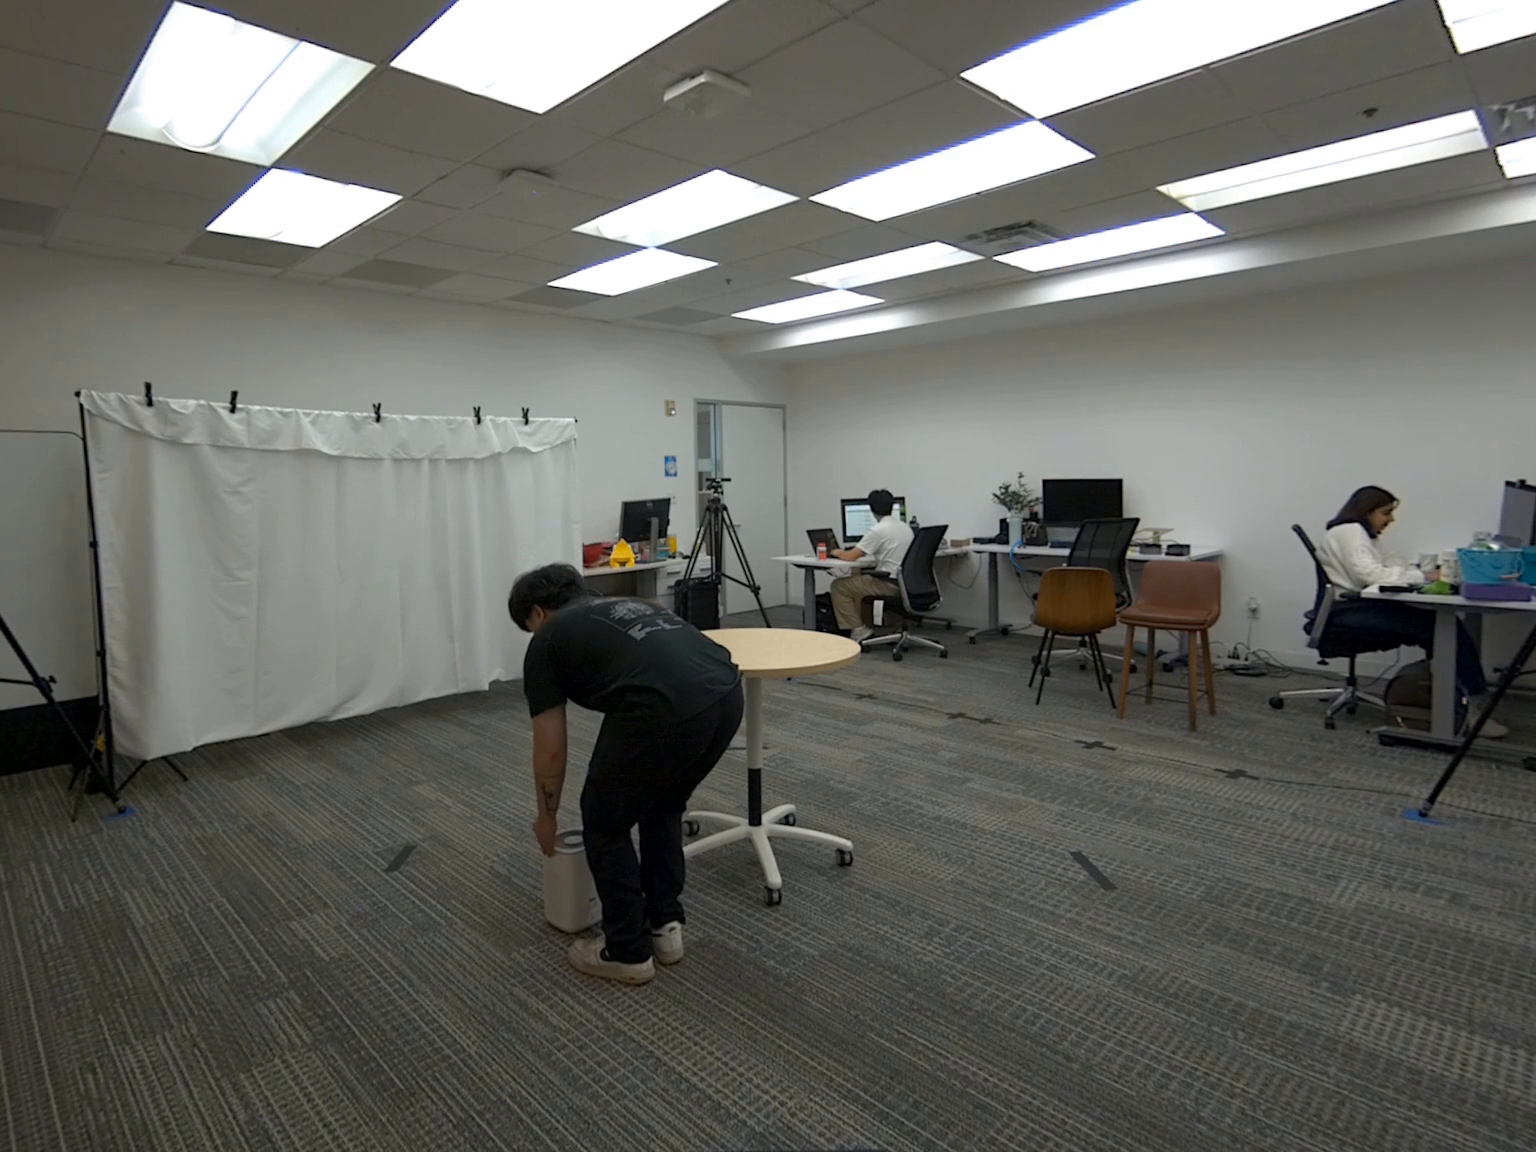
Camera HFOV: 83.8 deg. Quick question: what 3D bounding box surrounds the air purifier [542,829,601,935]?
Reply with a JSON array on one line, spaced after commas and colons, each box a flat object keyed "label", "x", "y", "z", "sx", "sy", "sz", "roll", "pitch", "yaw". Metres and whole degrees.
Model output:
[{"label": "air purifier", "x": -0.609, "y": 0.959, "z": 2.701, "sx": 0.177, "sy": 0.264, "sz": 0.166, "roll": 5, "pitch": 7, "yaw": 42}]
